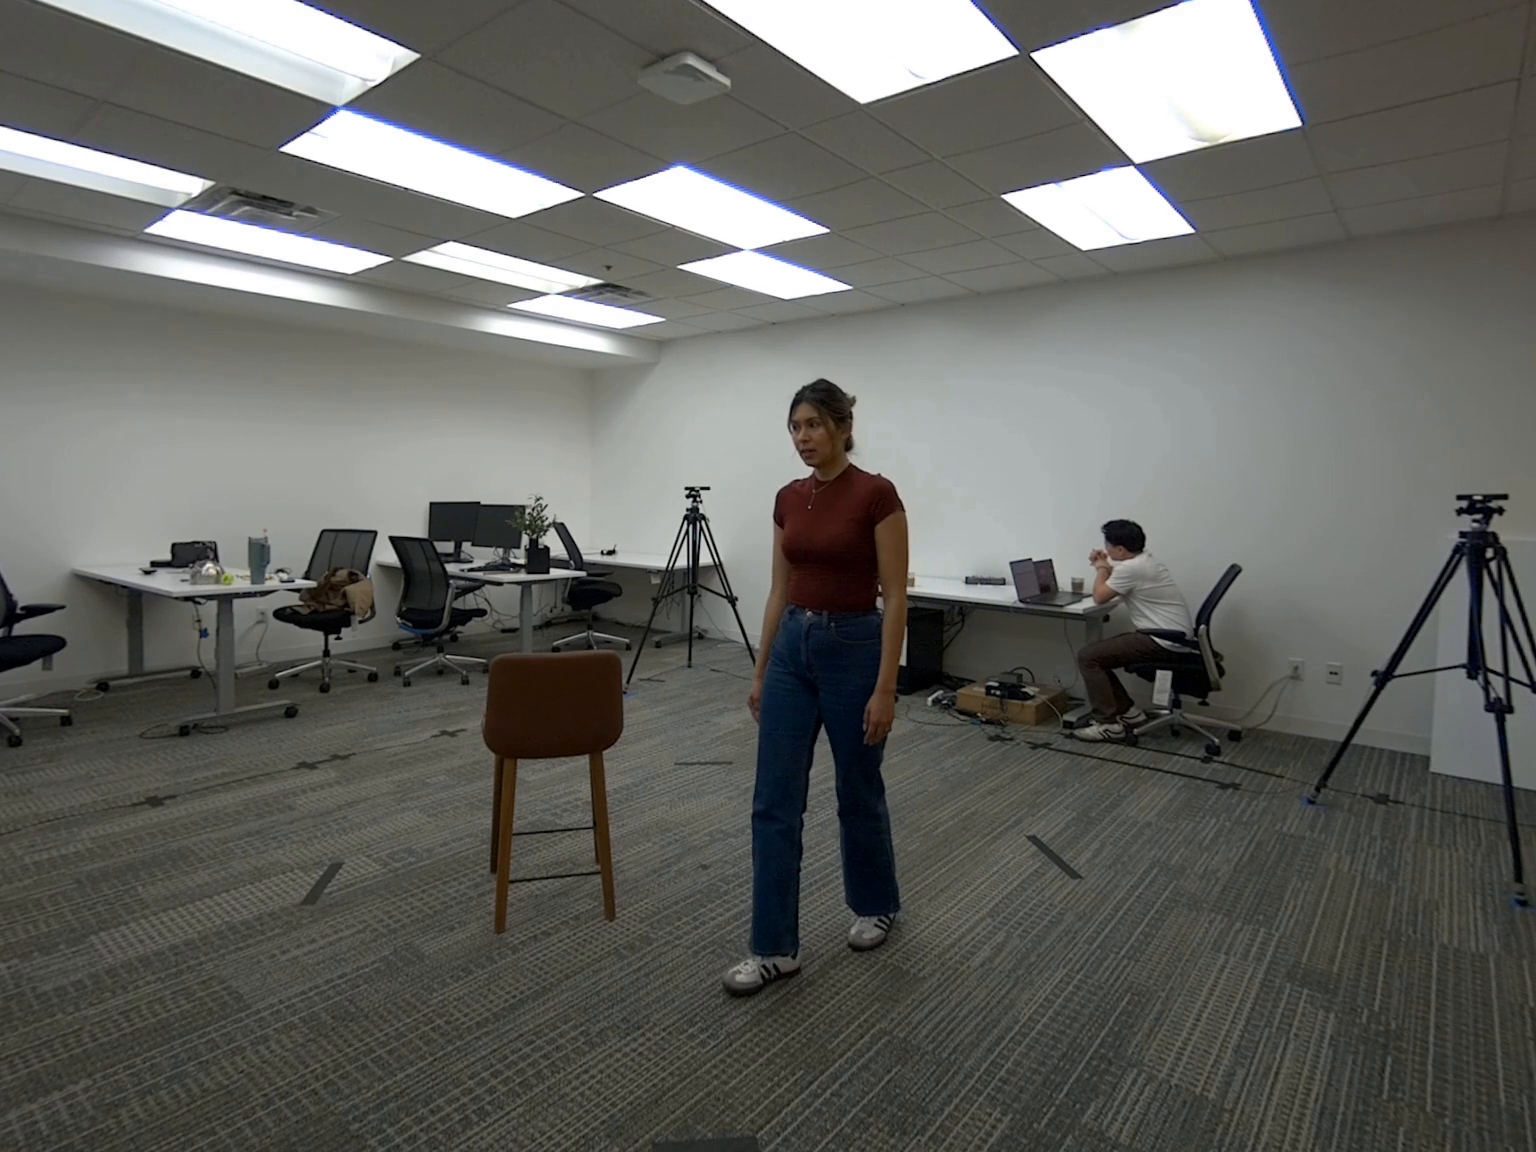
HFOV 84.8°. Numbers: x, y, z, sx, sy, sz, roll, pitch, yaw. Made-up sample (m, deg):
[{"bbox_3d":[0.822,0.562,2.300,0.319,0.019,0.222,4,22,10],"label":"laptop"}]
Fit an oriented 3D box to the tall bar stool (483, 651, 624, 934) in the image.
[{"bbox_3d":[-0.743,0.651,2.864,0.449,0.886,0.478,-1,5,-18],"label":"tall bar stool"}]
